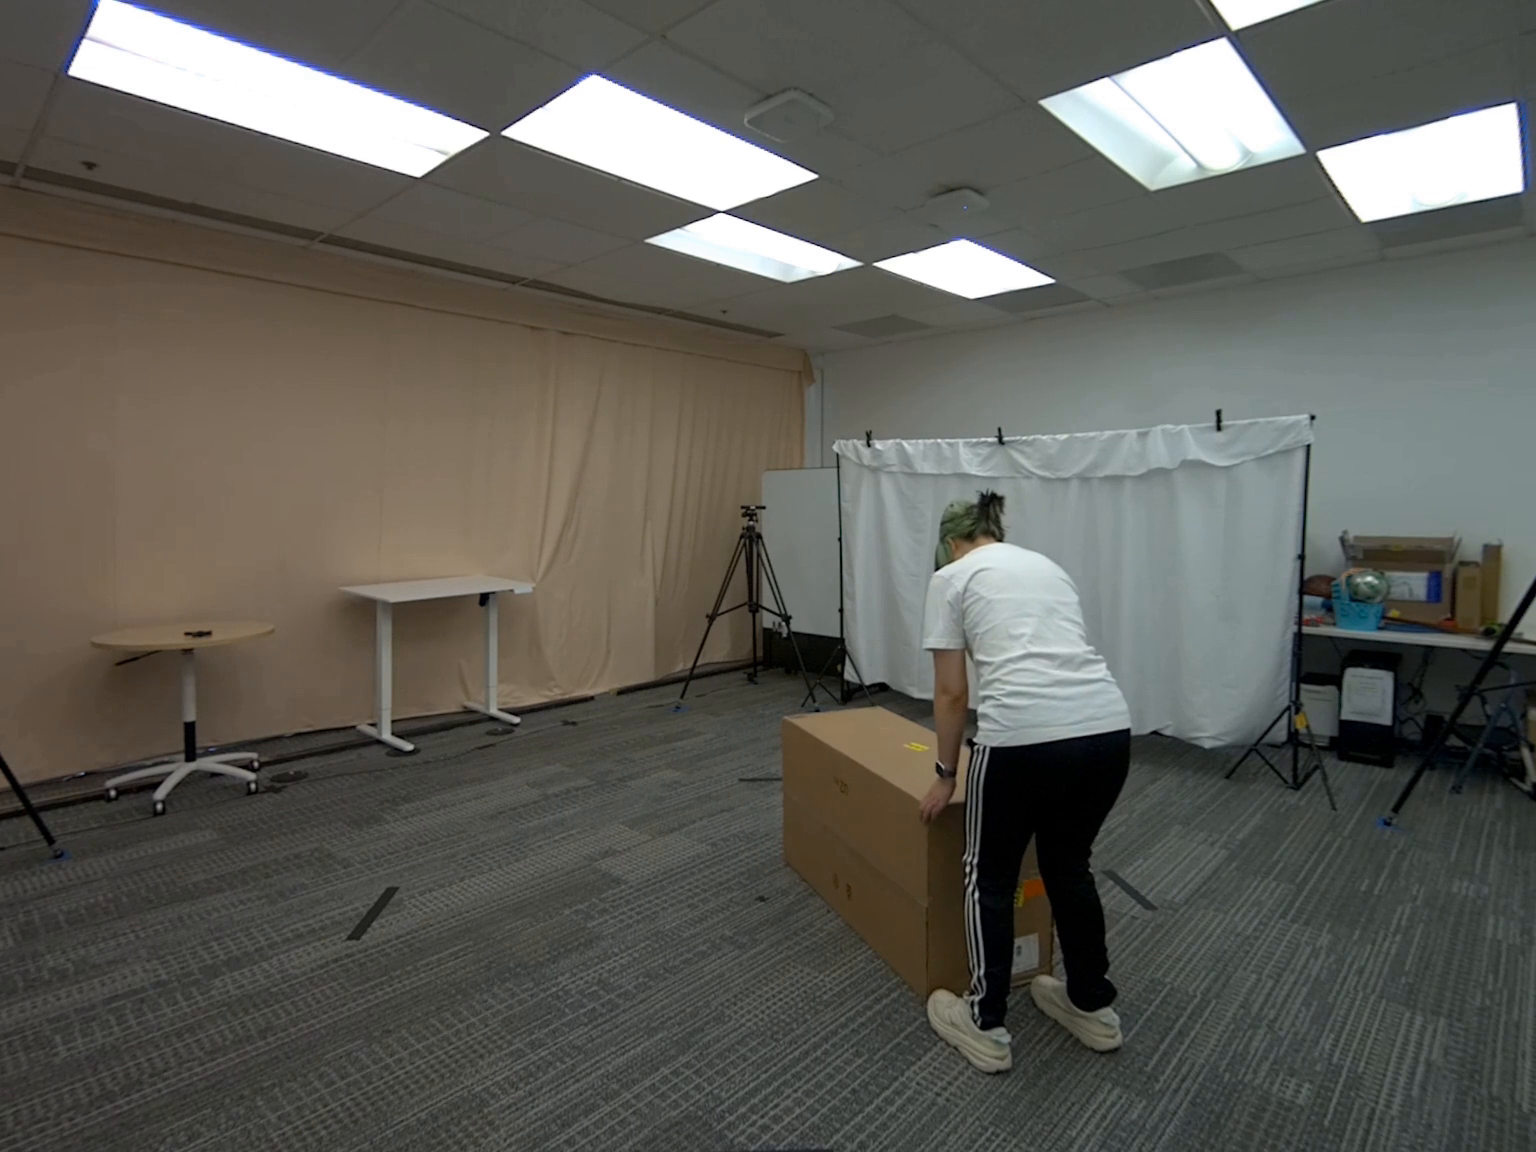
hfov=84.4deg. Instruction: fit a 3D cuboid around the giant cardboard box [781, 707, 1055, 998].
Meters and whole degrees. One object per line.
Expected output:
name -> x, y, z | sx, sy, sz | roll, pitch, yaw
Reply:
giant cardboard box -> 0.453, 0.863, 2.871 | 0.437, 0.582, 1.051 | -1, 5, -22
